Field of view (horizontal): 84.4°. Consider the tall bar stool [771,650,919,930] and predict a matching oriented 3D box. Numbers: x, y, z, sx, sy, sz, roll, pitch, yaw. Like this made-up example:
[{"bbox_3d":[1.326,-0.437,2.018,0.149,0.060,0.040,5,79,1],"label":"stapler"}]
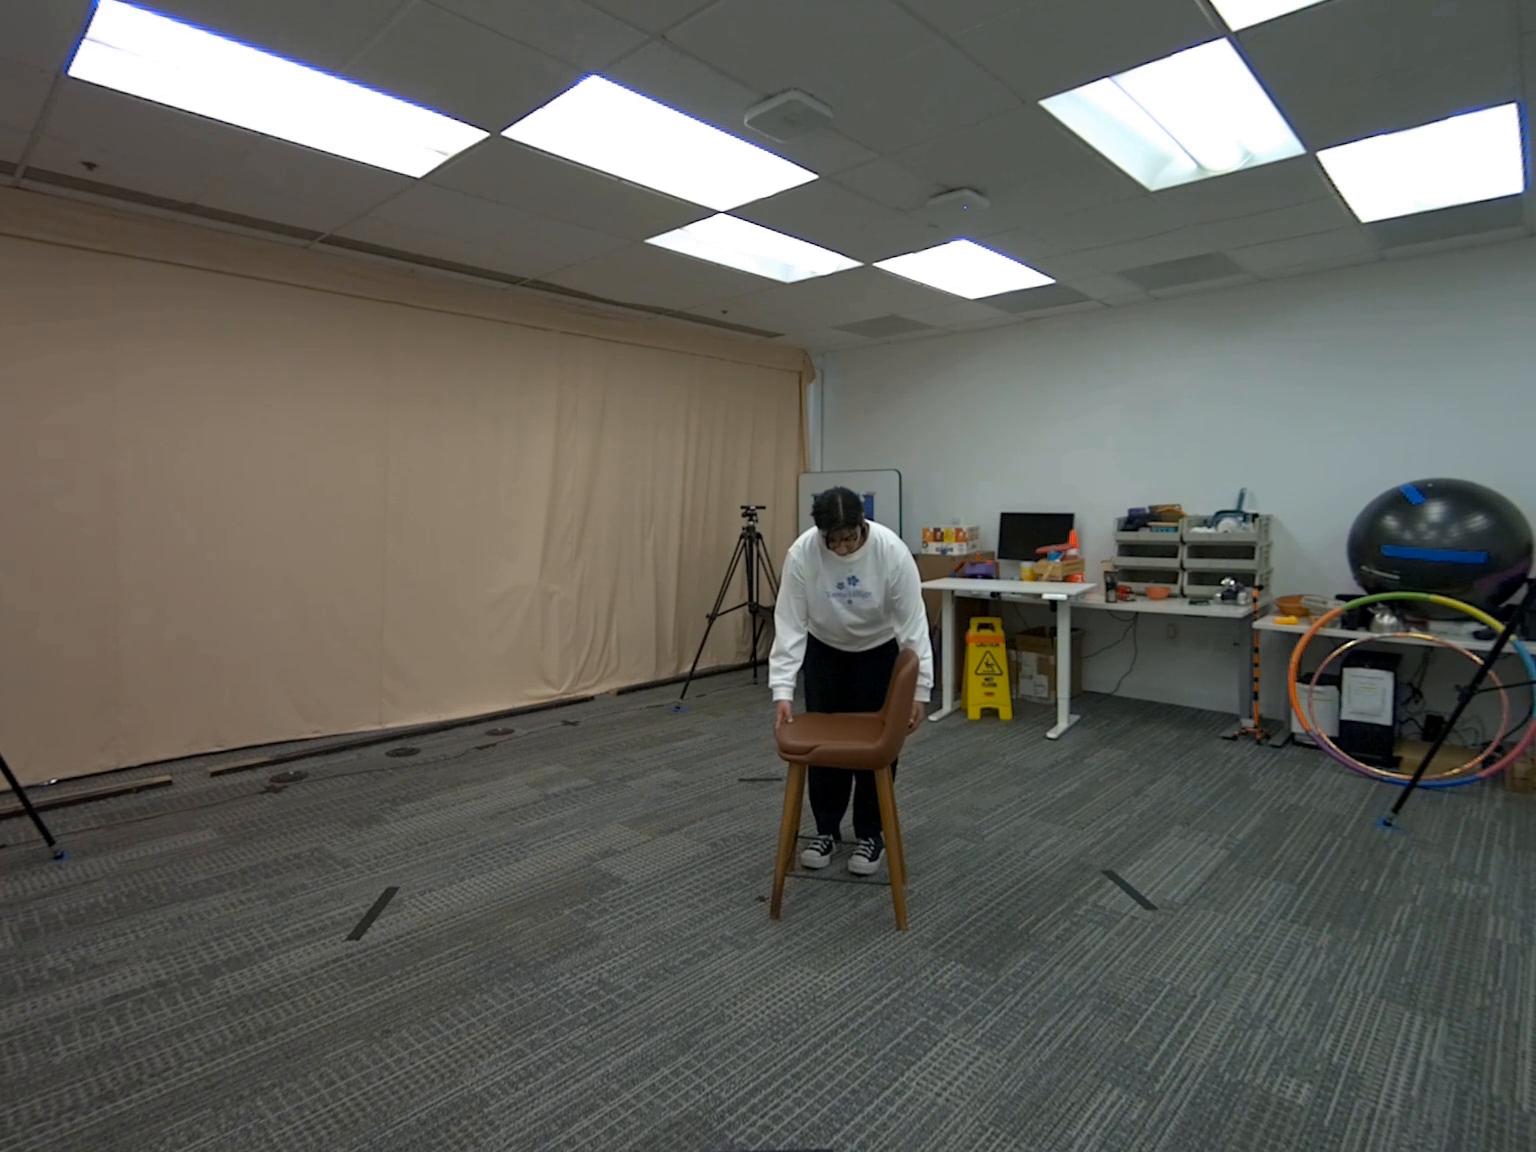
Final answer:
[{"bbox_3d":[0.270,0.706,2.962,0.474,0.888,0.451,2,3,12],"label":"tall bar stool"}]
